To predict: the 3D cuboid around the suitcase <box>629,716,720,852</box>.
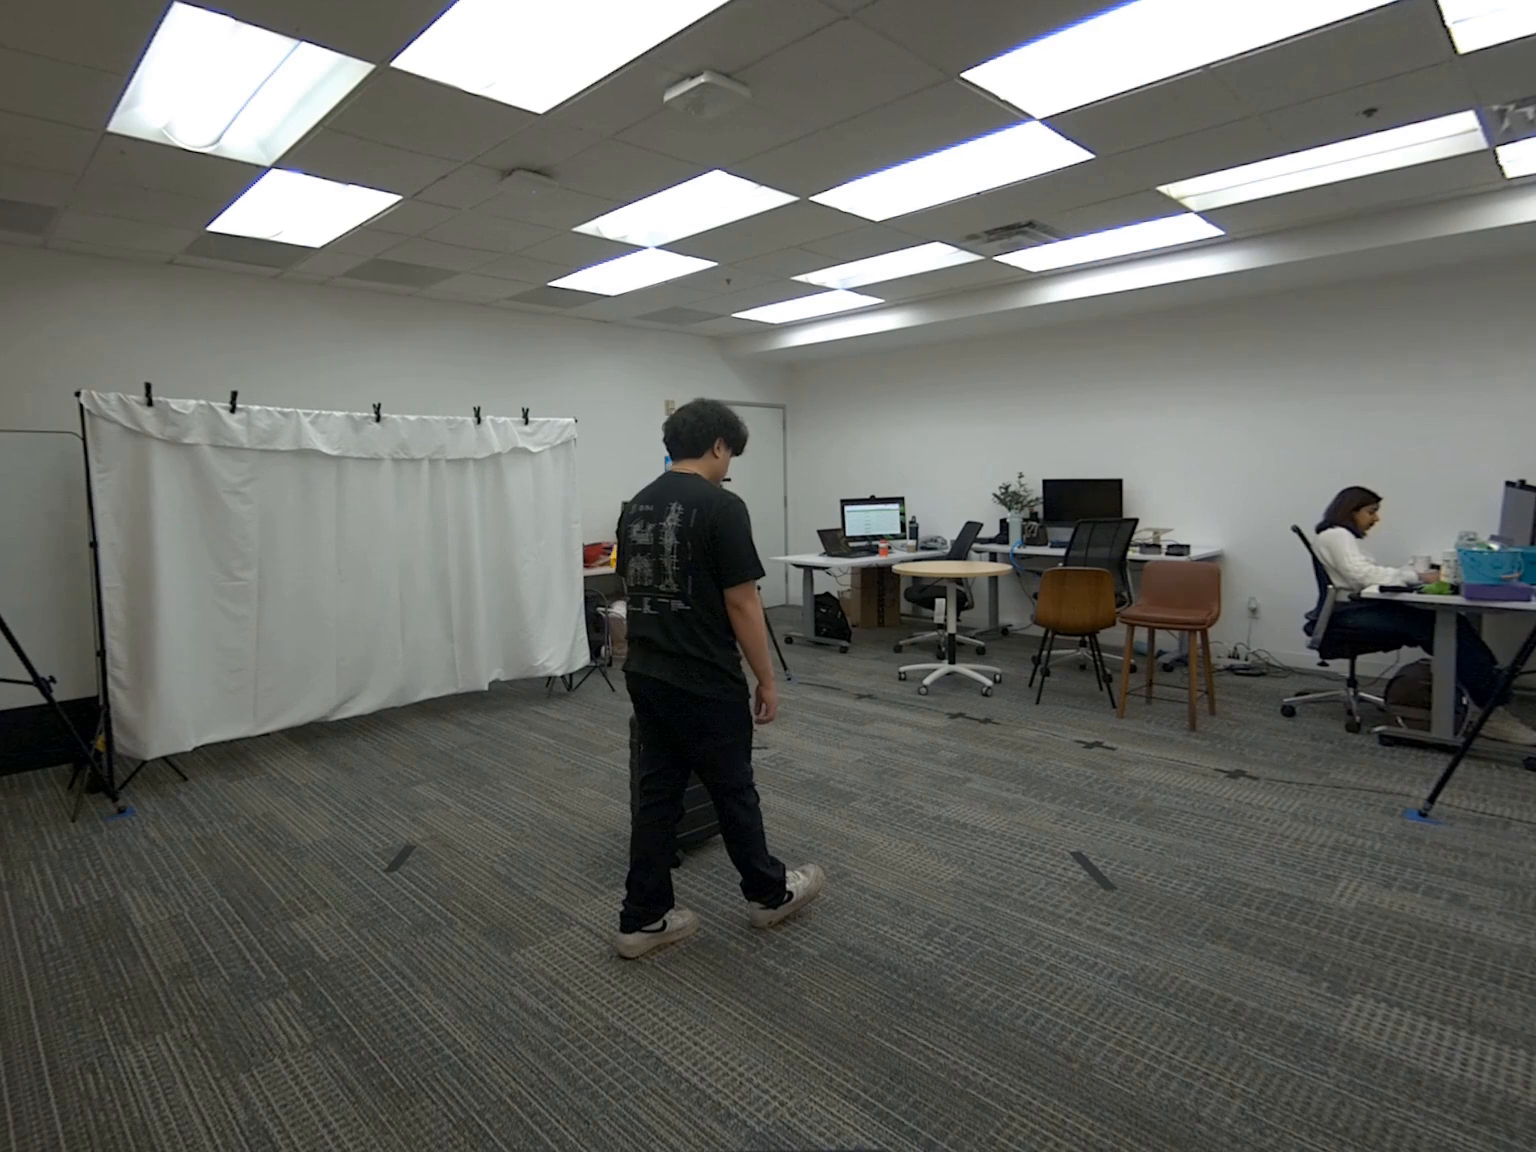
[{"bbox_3d":[-0.332,0.759,3.255,0.366,0.548,0.255,-7,5,-42],"label":"suitcase"}]
